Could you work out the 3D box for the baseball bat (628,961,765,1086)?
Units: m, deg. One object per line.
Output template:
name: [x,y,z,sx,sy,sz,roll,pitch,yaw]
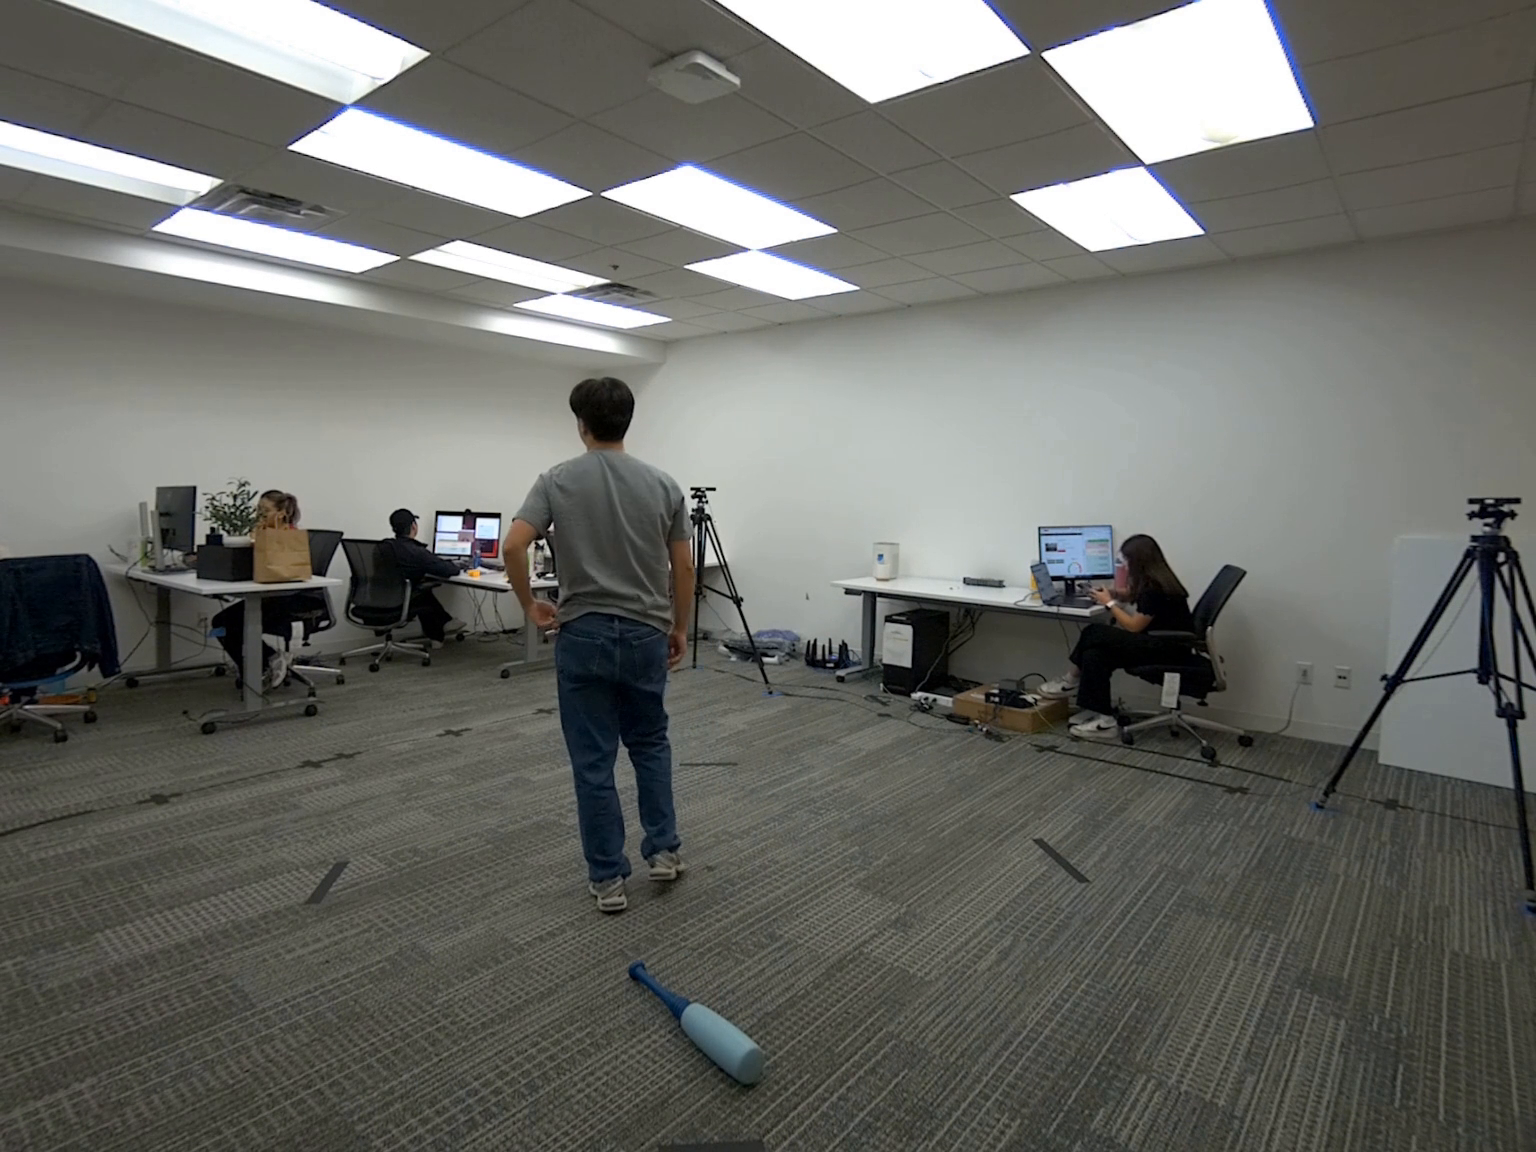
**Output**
baseball bat: [-0.217,1.126,2.184,0.086,0.089,0.560,-2,3,-38]
